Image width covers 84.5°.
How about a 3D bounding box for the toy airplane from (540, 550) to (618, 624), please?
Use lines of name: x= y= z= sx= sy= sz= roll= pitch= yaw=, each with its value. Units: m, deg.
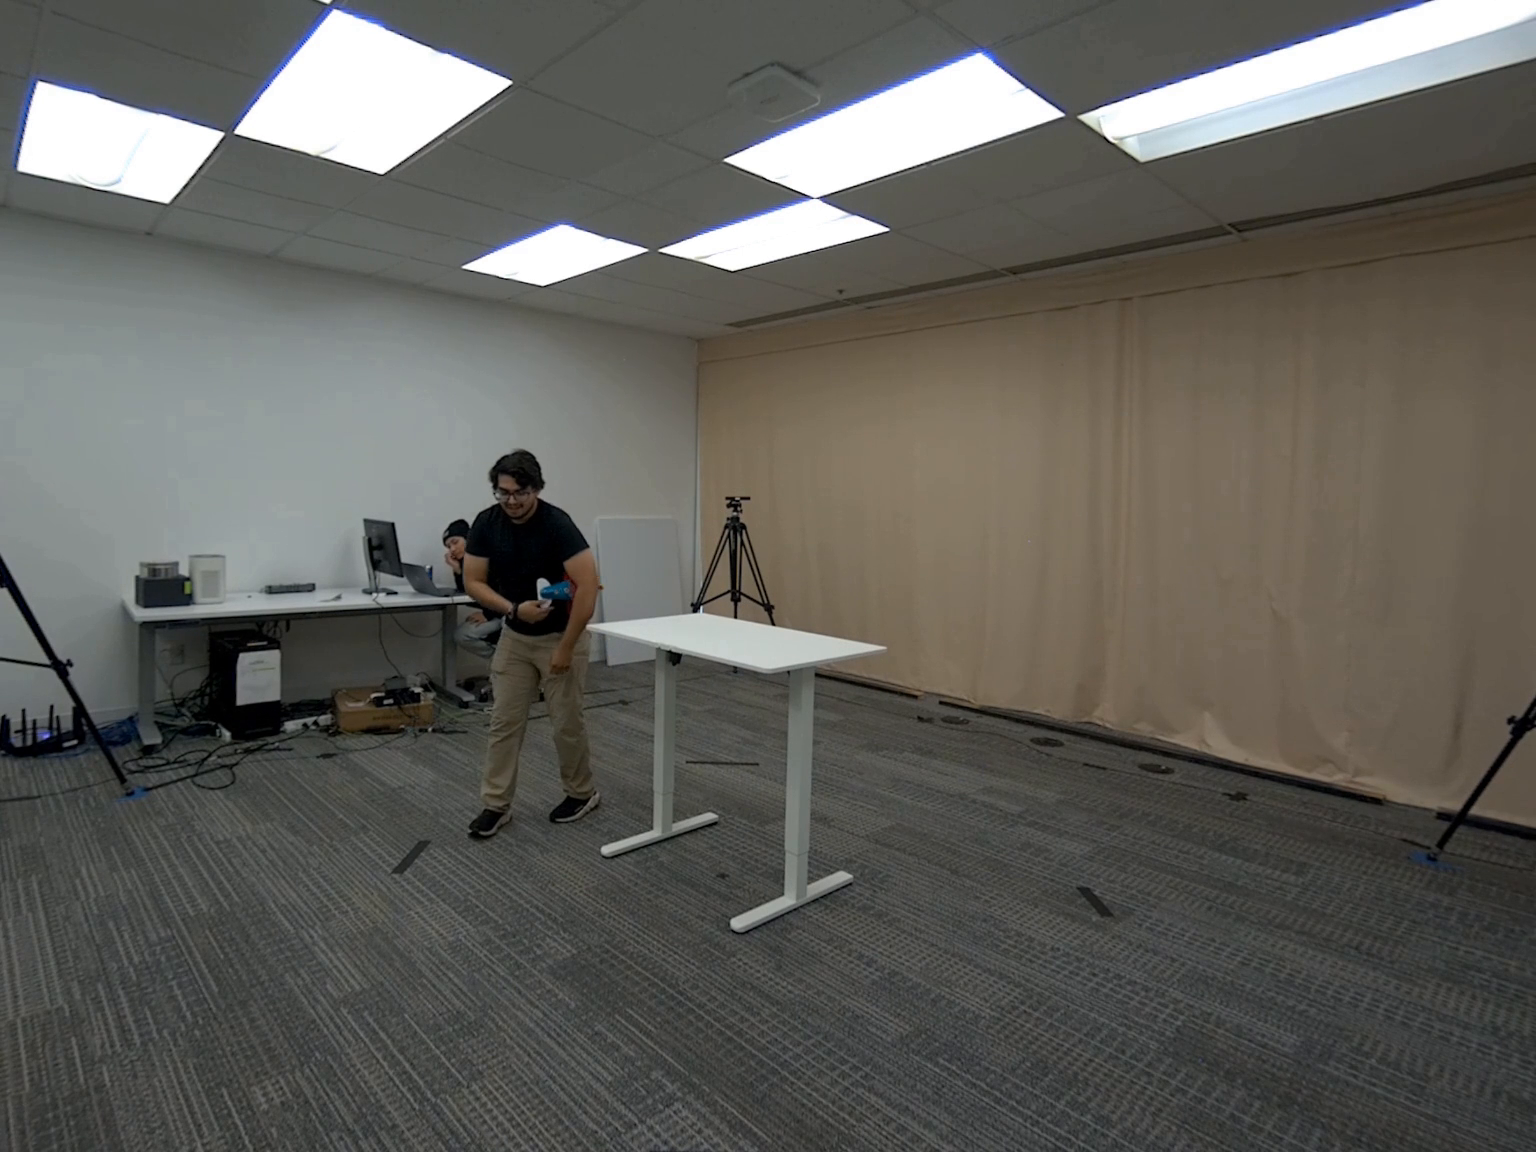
toy airplane: x=-0.808 y=0.072 z=3.450 sx=0.159 sy=0.248 sz=0.258 roll=-13 pitch=19 yaw=44
